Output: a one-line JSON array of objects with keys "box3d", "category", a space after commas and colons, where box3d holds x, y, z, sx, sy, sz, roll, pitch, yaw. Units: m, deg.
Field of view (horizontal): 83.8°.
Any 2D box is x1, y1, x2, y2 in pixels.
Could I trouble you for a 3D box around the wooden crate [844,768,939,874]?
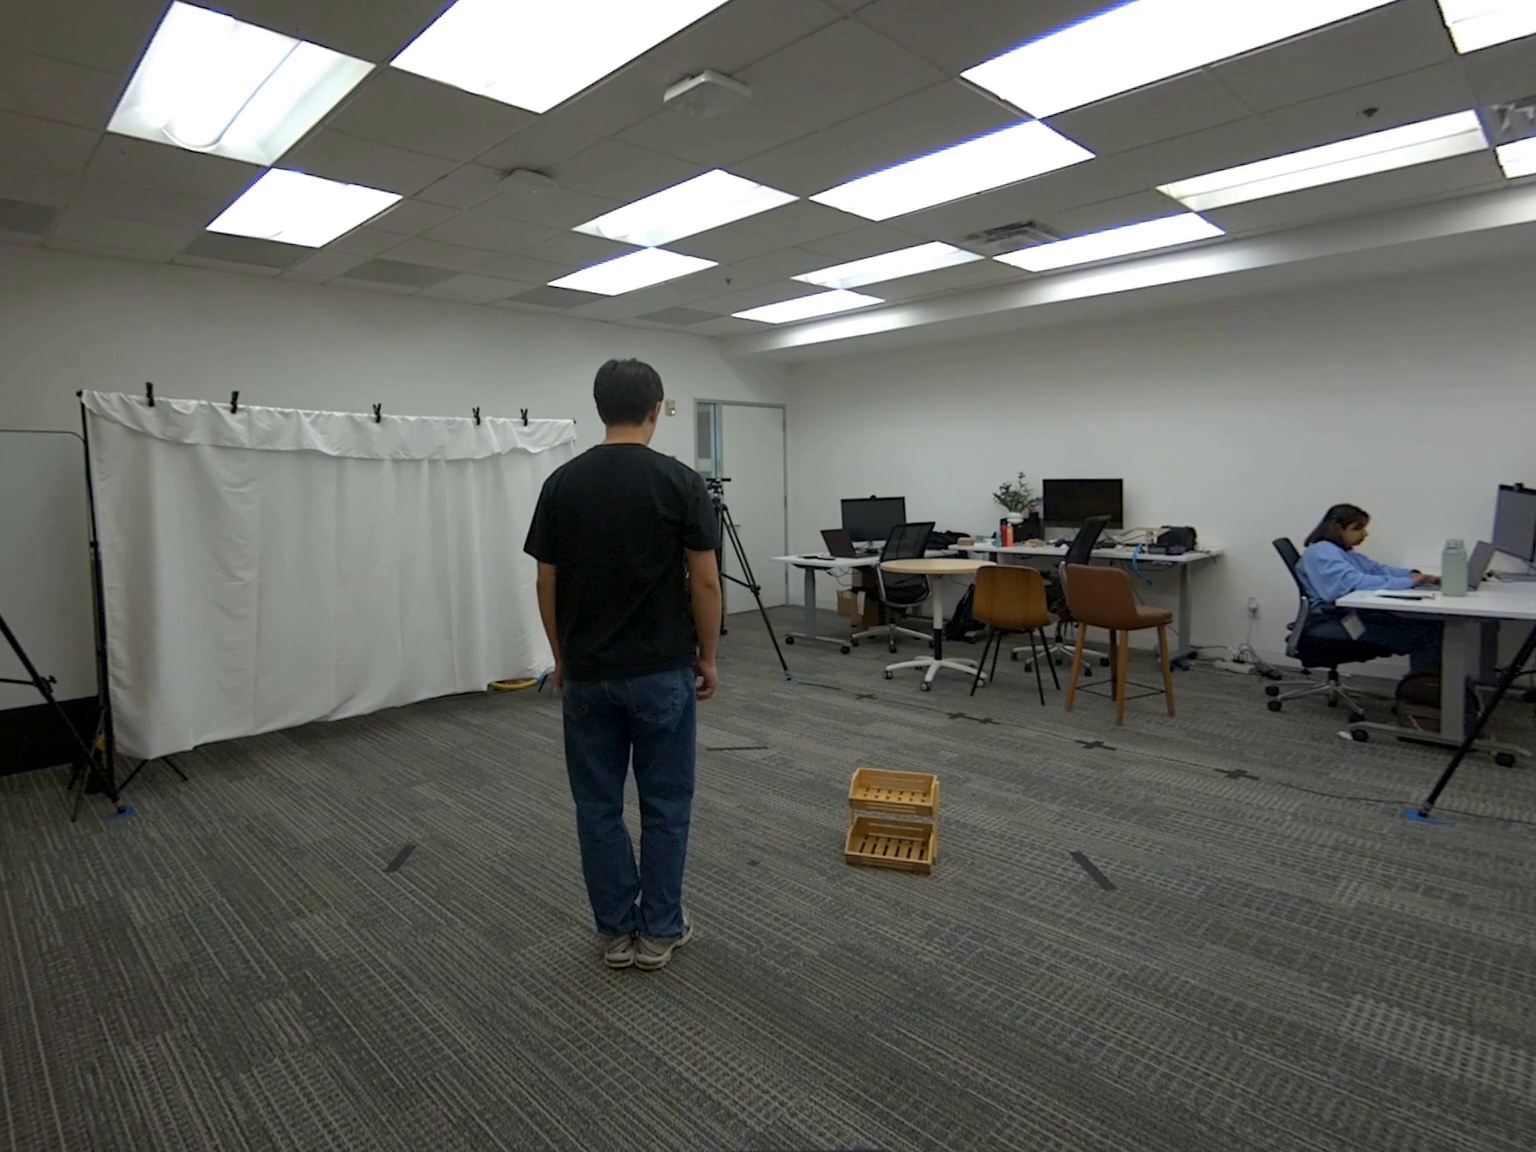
[{"box3d": [0.464, 0.893, 3.153, 0.330, 0.272, 0.298, 1, 5, 17], "category": "wooden crate"}]
